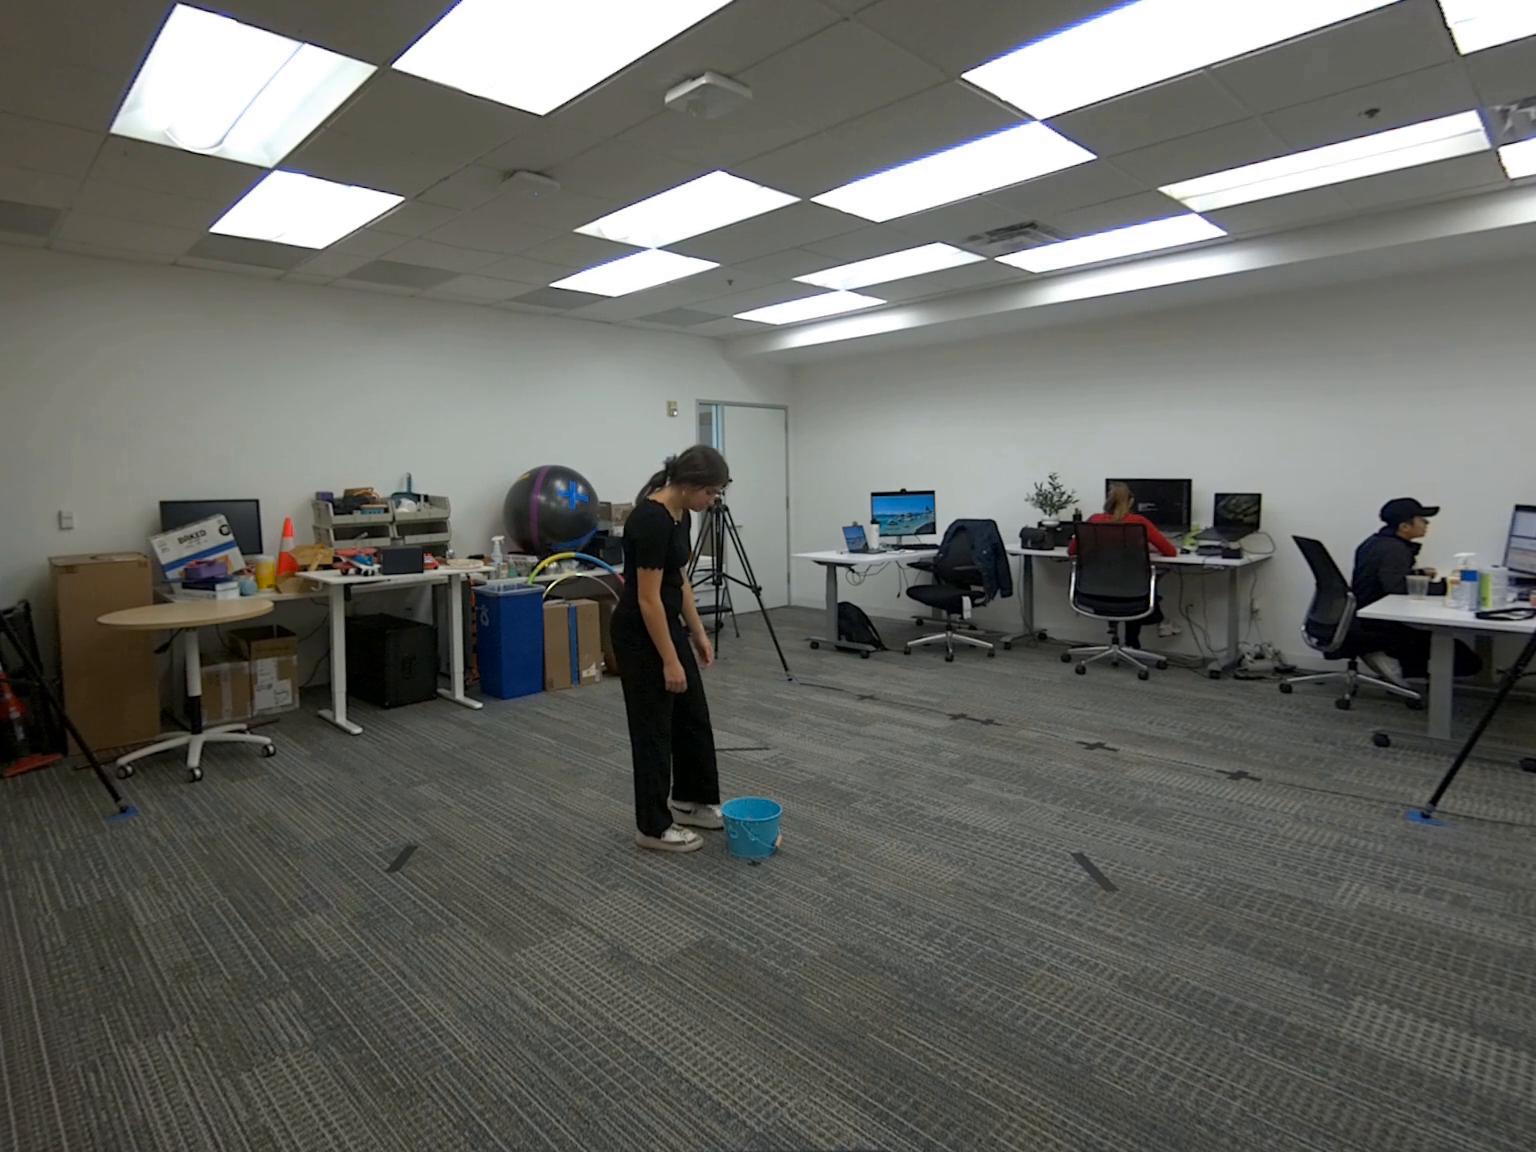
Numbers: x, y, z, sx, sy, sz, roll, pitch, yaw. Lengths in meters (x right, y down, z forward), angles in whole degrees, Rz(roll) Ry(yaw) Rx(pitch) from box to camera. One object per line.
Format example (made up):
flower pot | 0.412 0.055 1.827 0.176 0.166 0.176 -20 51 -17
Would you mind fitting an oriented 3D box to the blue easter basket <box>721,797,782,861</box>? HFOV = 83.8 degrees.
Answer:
blue easter basket | -0.063 0.949 3.226 0.243 0.155 0.245 -1 5 -2
